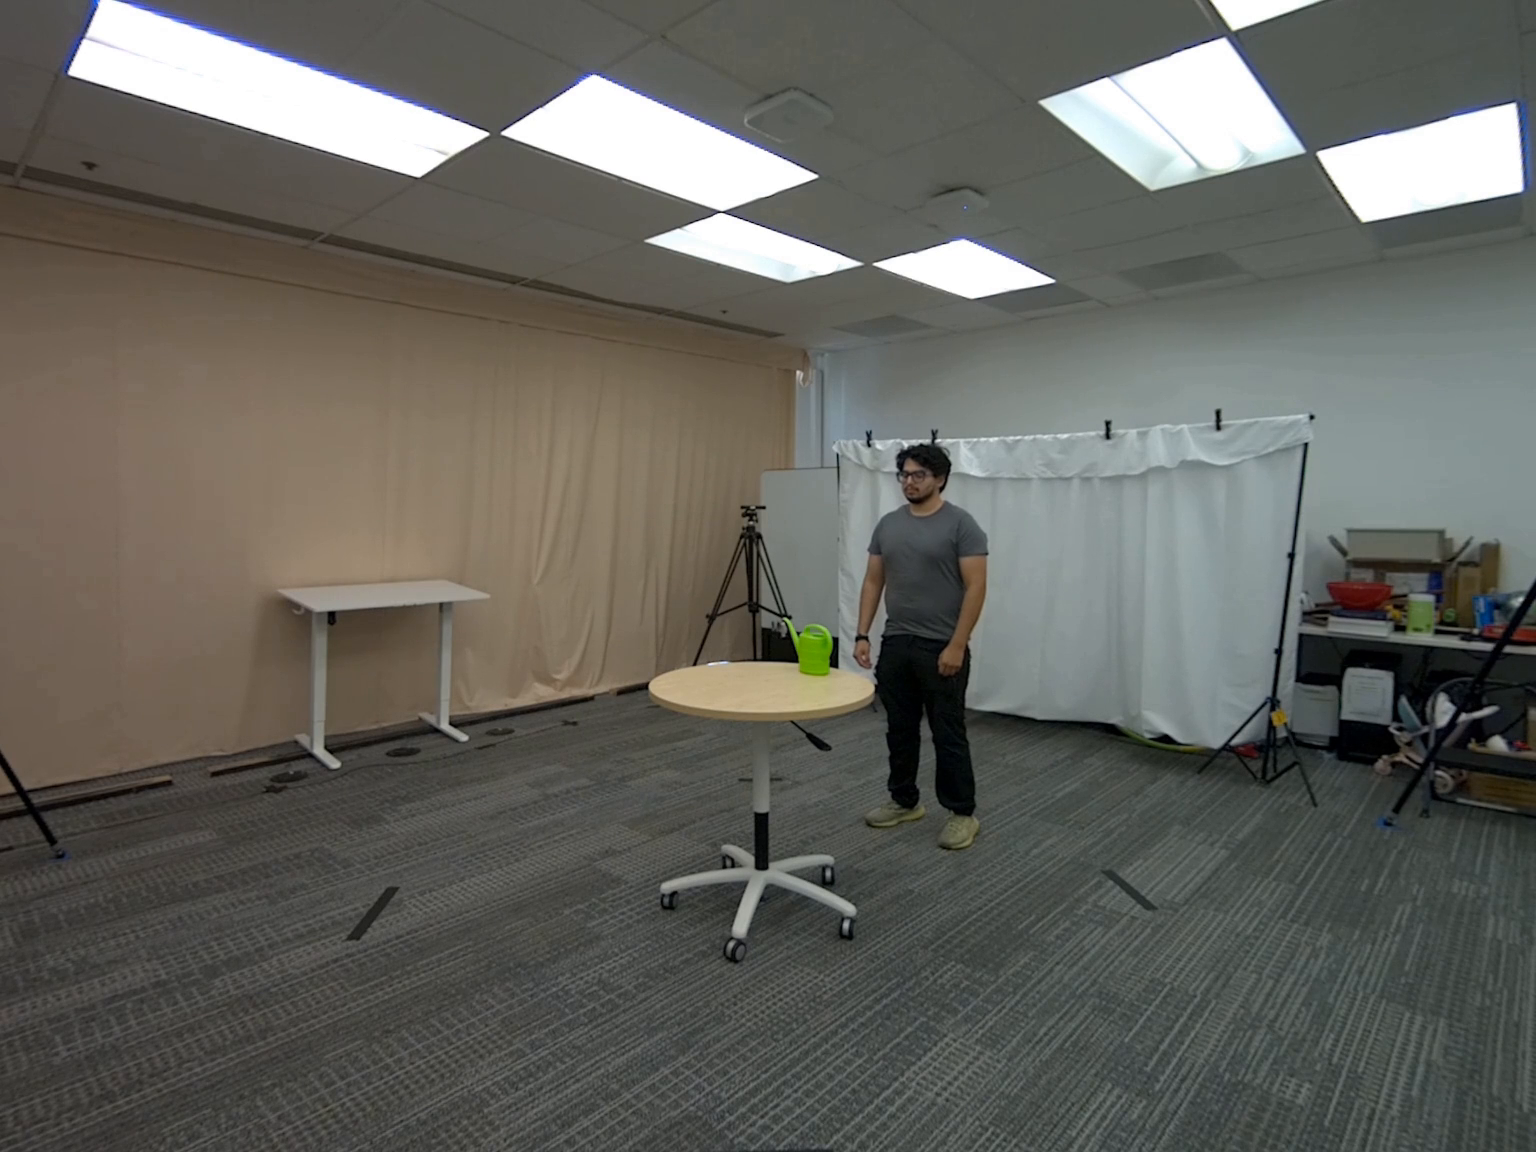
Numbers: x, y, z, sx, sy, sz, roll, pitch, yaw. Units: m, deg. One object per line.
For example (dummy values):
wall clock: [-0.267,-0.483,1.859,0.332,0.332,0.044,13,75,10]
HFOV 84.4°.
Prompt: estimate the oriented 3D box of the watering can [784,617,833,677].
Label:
watering can: [0.150,0.260,3.098,0.096,0.176,0.284,-1,6,-20]
